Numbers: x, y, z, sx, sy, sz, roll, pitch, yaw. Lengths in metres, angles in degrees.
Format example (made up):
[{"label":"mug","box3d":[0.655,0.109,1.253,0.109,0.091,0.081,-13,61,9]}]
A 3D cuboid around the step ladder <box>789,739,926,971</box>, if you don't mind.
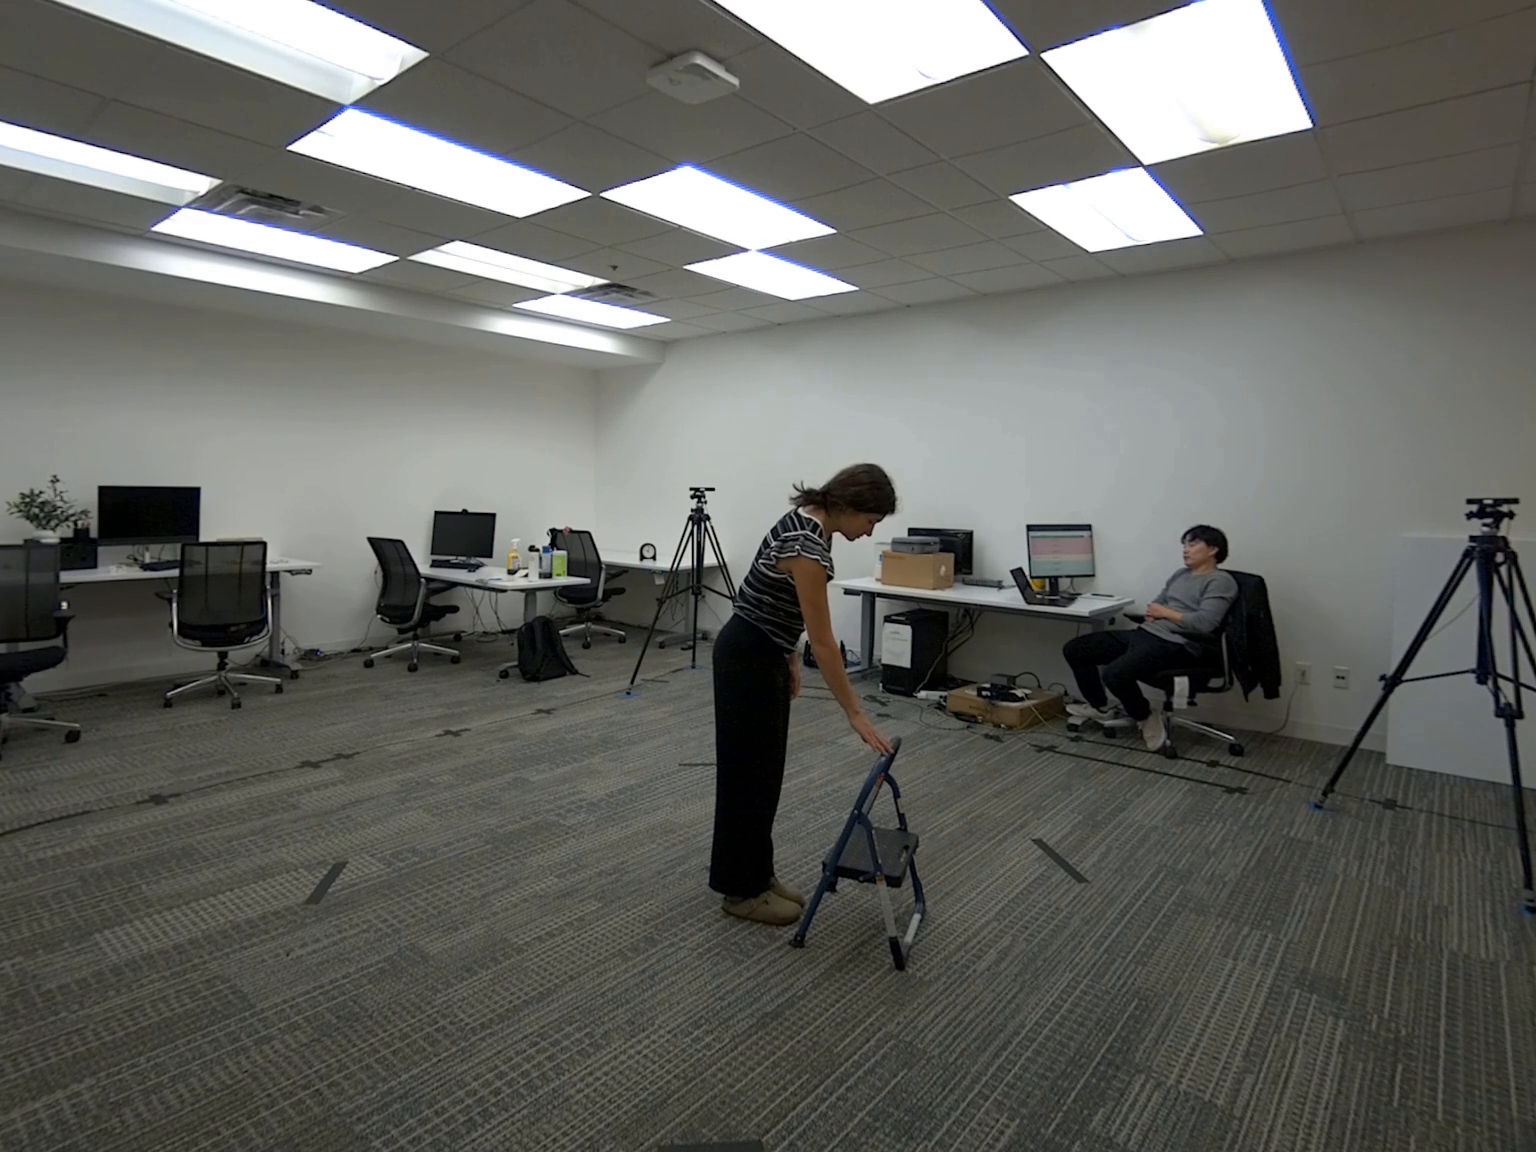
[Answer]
[{"label":"step ladder","box3d":[0.302,0.817,2.702,0.357,0.604,0.422,3,4,20]}]
